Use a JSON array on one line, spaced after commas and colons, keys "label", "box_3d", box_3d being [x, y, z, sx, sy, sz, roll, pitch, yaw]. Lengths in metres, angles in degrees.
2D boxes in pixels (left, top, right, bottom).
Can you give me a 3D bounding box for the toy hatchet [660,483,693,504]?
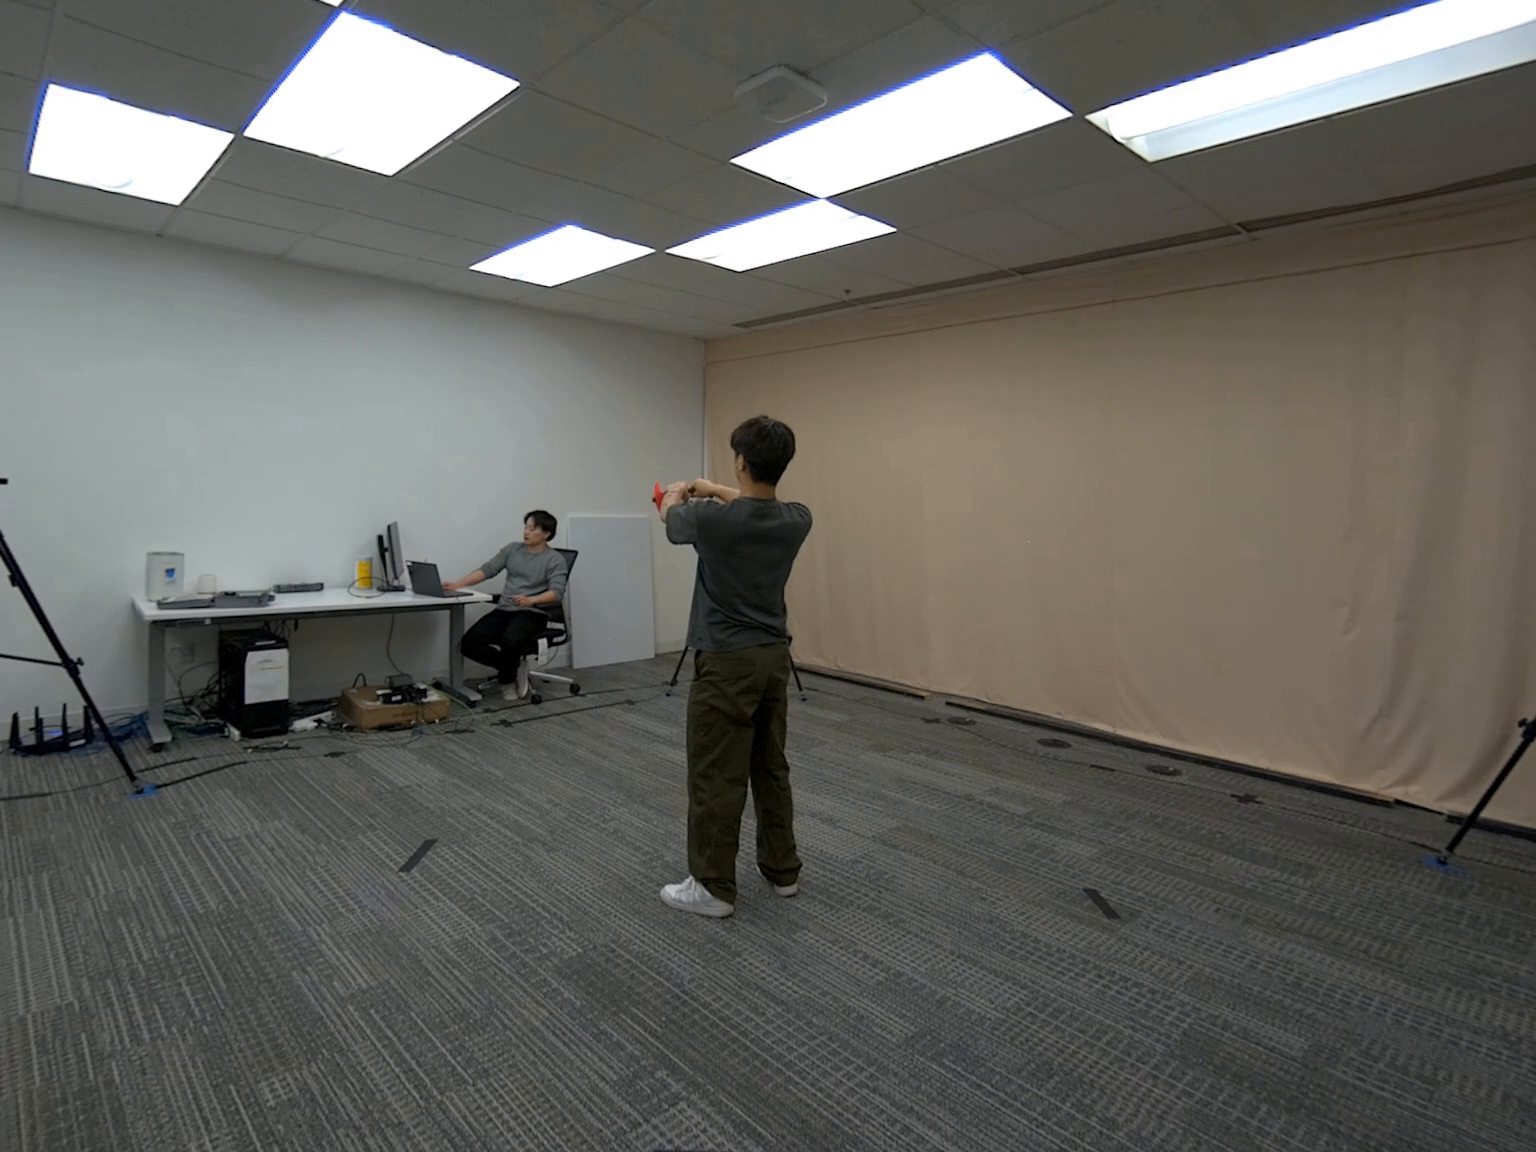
[{"label": "toy hatchet", "box_3d": [-0.326, -0.296, 3.316, 0.265, 0.131, 0.030, 3, 0, -27]}]
